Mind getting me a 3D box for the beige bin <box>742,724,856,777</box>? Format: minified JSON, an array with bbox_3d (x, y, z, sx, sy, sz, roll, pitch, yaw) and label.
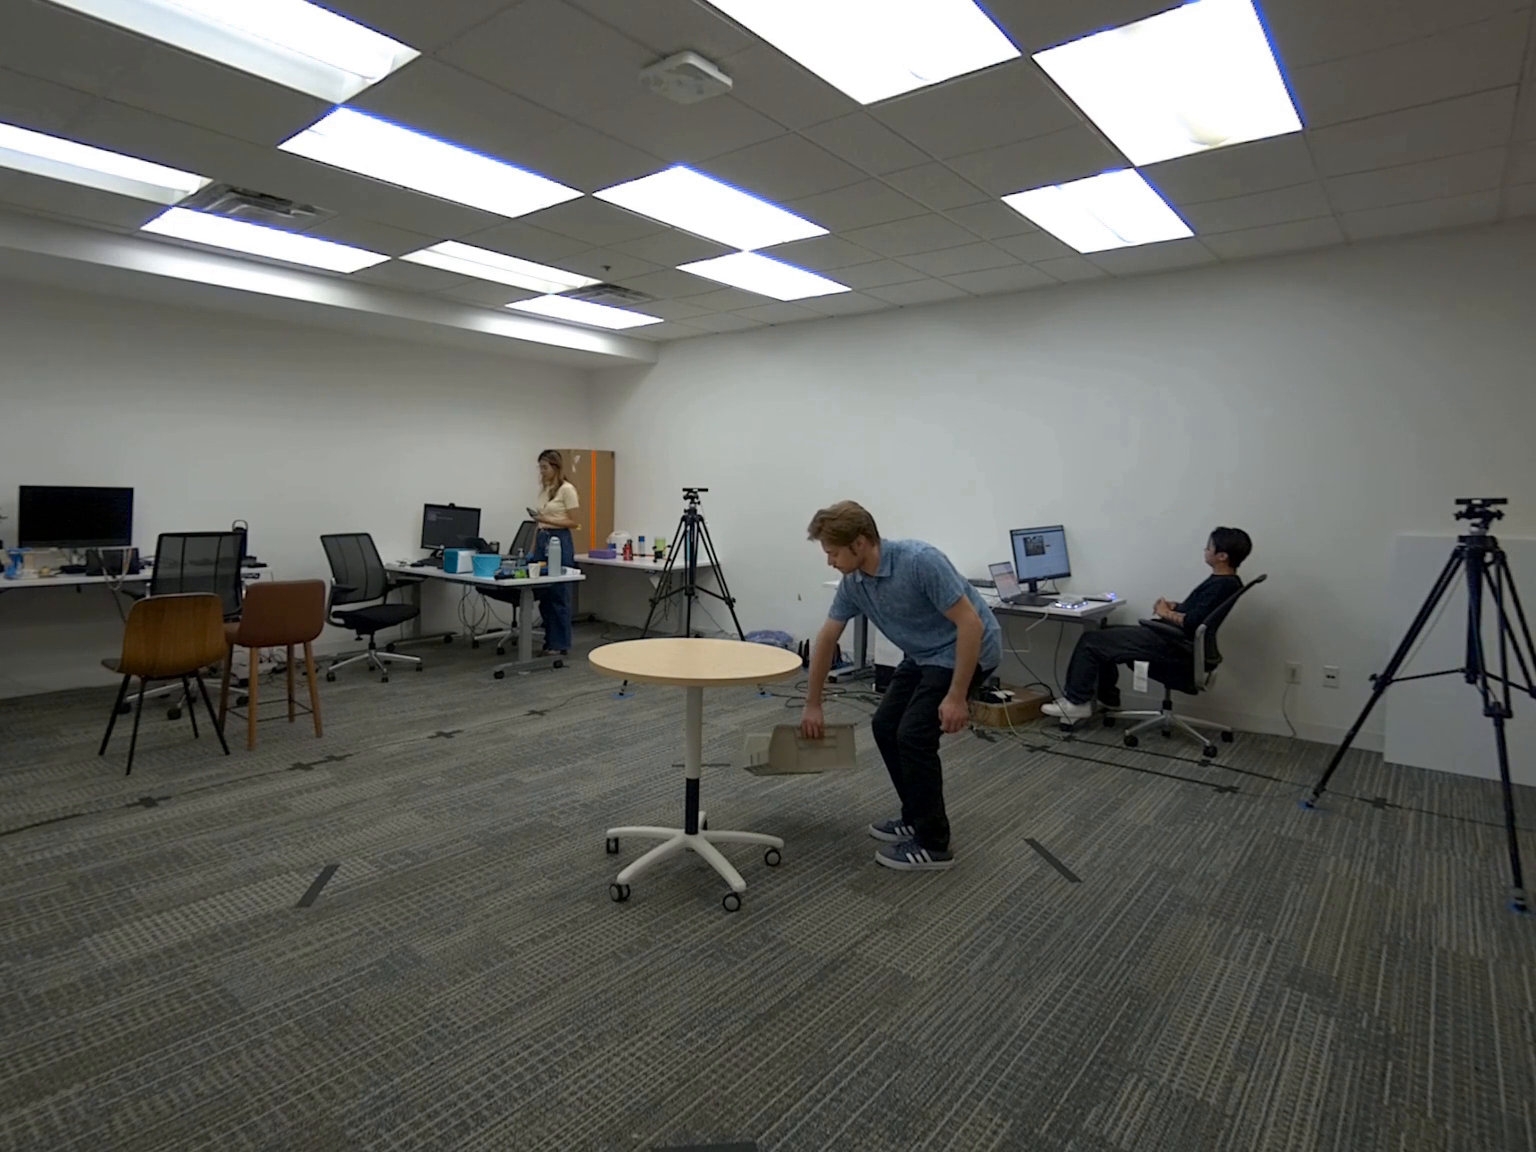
[{"bbox_3d":[0.100,0.720,3.513,0.371,0.192,0.423,2,-15,-16],"label":"beige bin"}]
